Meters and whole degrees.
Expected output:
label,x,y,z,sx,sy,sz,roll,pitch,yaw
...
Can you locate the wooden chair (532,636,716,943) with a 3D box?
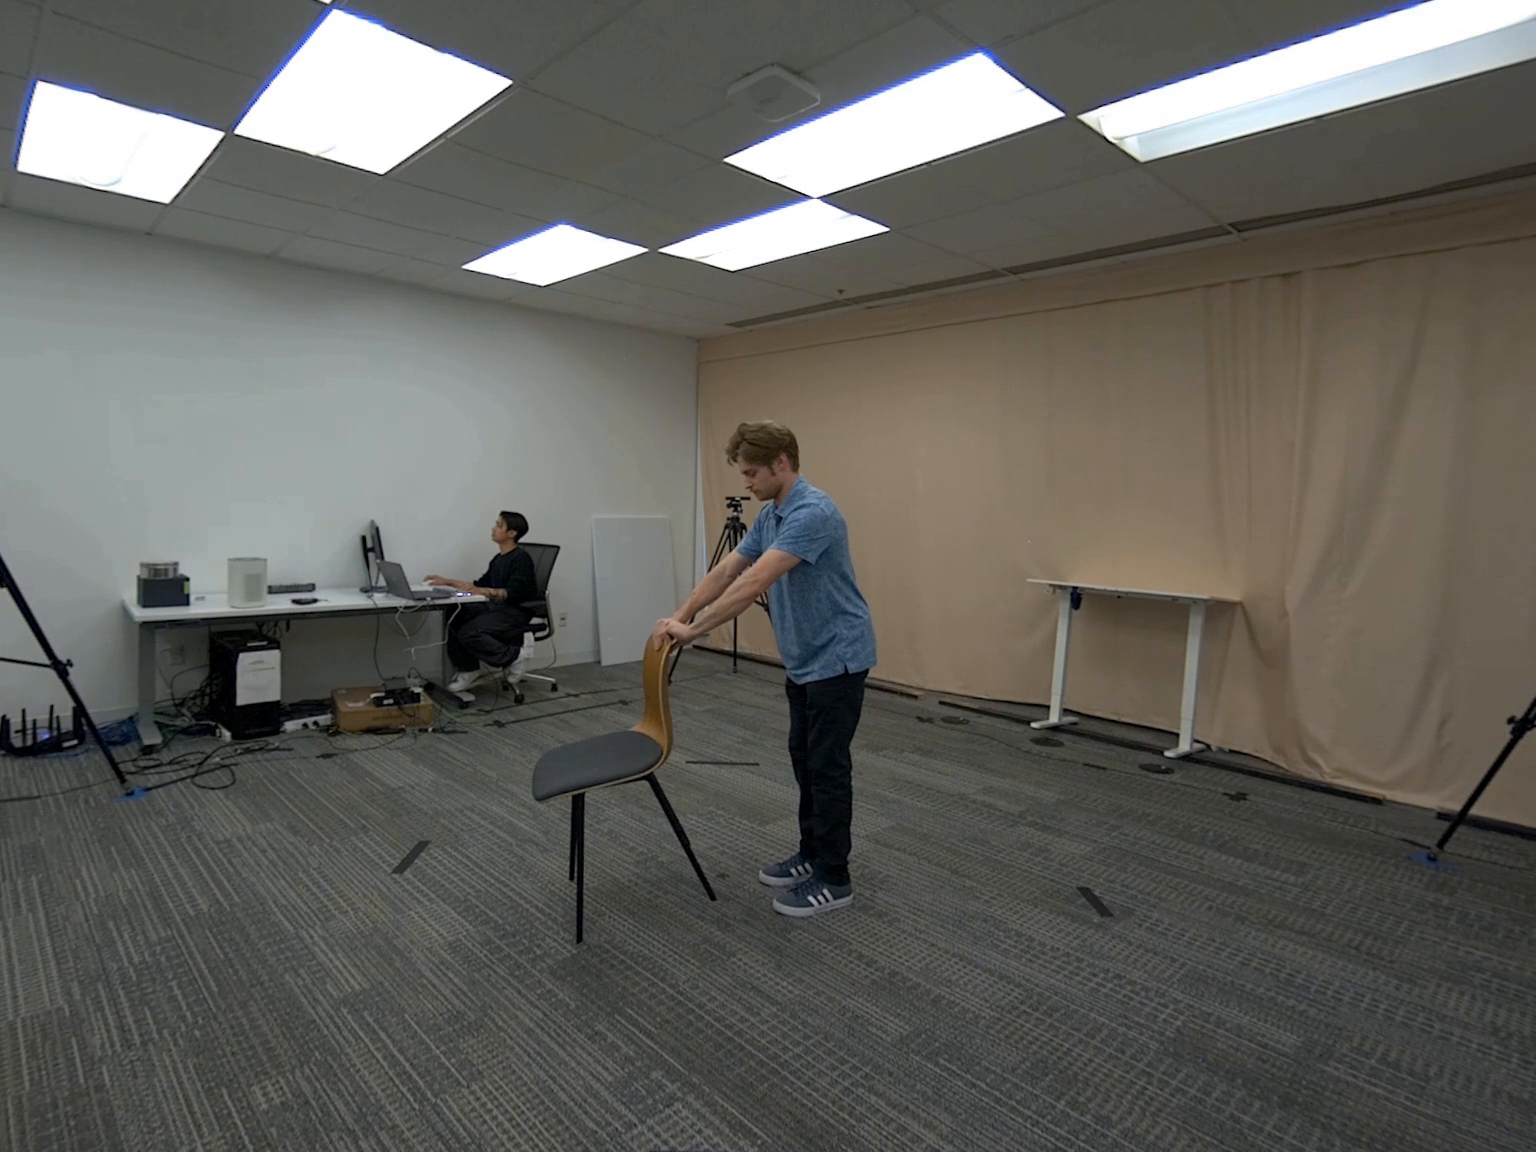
label,x,y,z,sx,sy,sz,roll,pitch,yaw
wooden chair,-0.526,0.660,2.811,0.518,0.873,0.485,-8,6,-15
